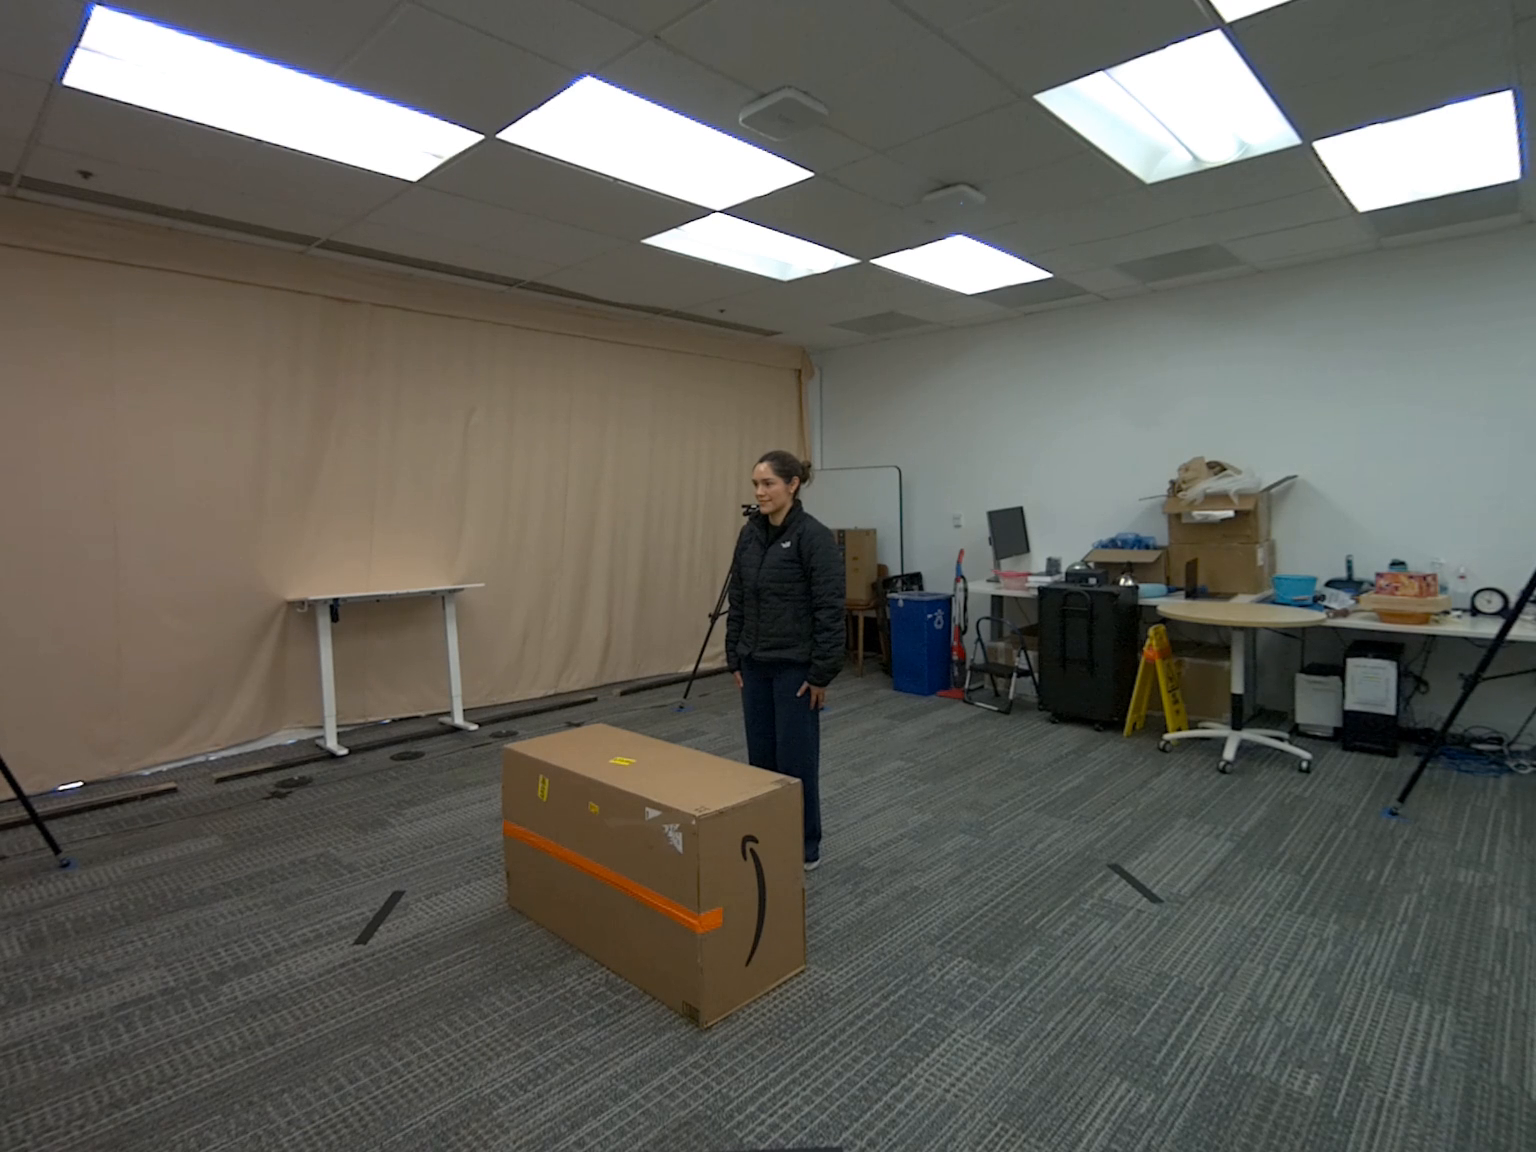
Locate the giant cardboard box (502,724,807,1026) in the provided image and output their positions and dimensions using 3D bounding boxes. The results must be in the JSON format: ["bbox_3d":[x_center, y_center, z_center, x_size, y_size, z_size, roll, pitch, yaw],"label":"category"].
[{"bbox_3d":[-0.400,0.887,2.729,1.061,0.582,0.433,2,6,44],"label":"giant cardboard box"}]
